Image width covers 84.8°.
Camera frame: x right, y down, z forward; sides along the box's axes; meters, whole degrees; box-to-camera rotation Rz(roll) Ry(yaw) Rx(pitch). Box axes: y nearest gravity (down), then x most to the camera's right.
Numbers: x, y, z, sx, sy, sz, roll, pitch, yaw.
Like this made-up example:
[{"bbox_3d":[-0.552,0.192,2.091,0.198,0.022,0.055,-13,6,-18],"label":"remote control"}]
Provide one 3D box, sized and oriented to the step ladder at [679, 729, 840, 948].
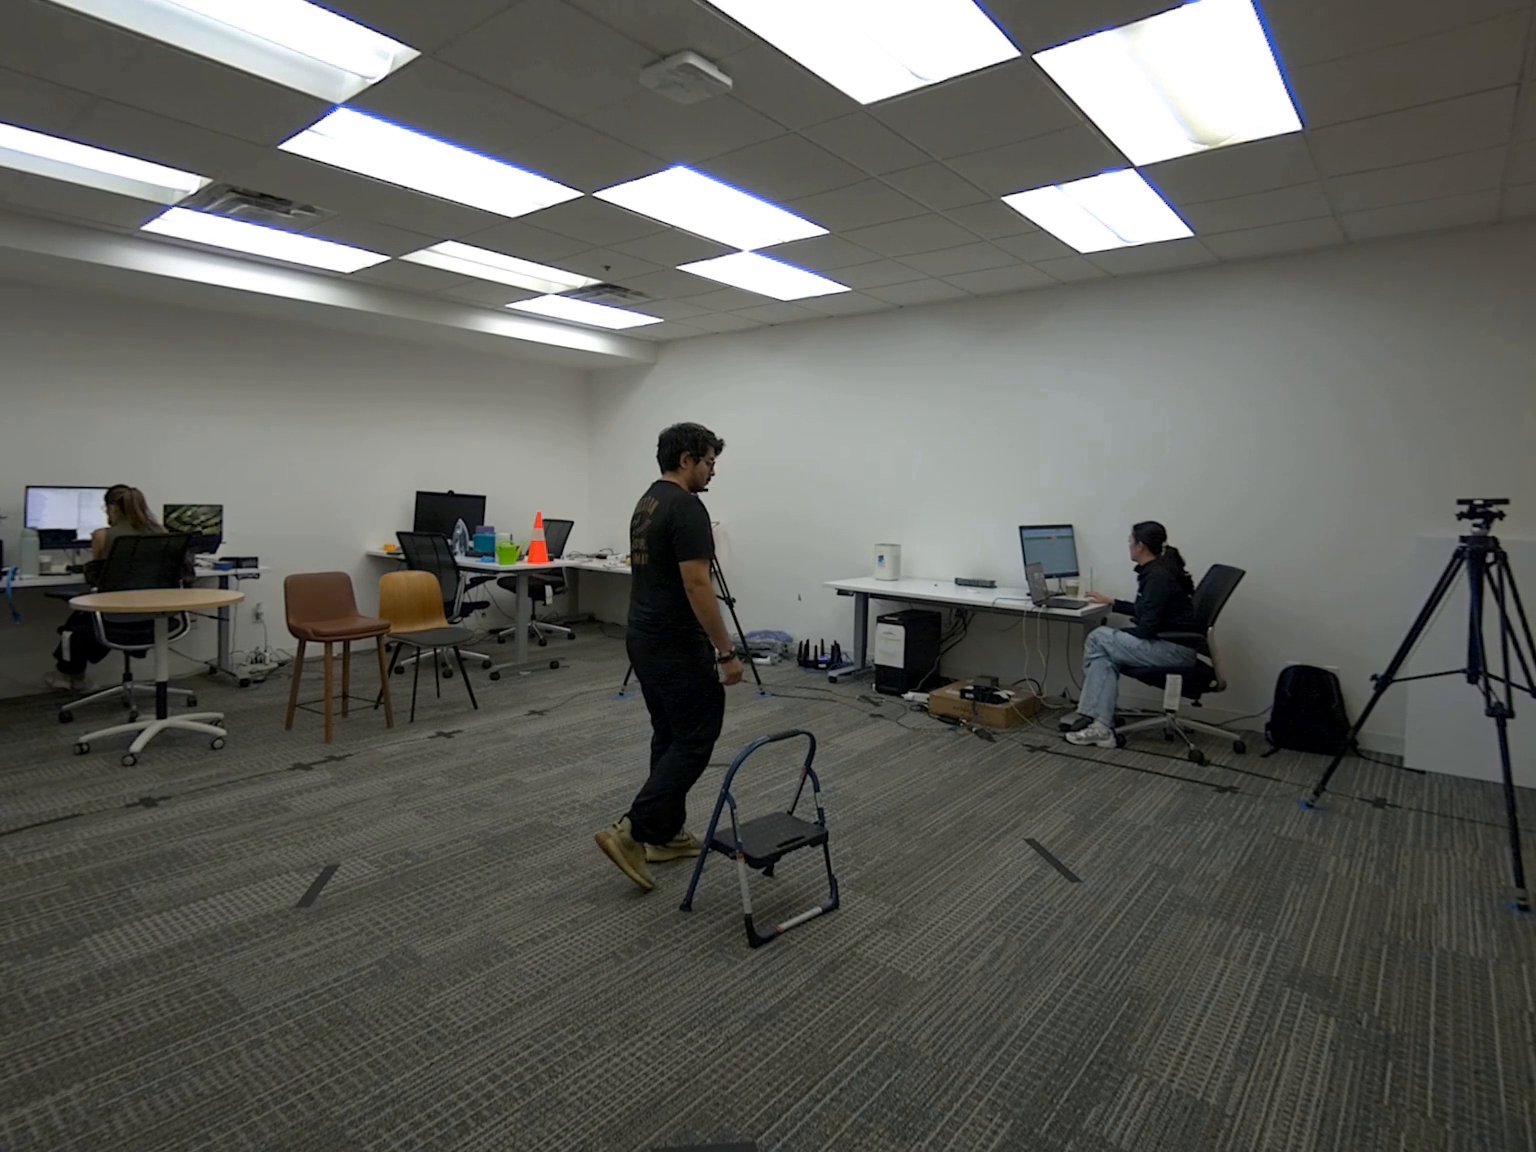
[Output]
[{"bbox_3d":[-0.024,0.797,2.817,0.361,0.604,0.417,4,4,45],"label":"step ladder"}]
